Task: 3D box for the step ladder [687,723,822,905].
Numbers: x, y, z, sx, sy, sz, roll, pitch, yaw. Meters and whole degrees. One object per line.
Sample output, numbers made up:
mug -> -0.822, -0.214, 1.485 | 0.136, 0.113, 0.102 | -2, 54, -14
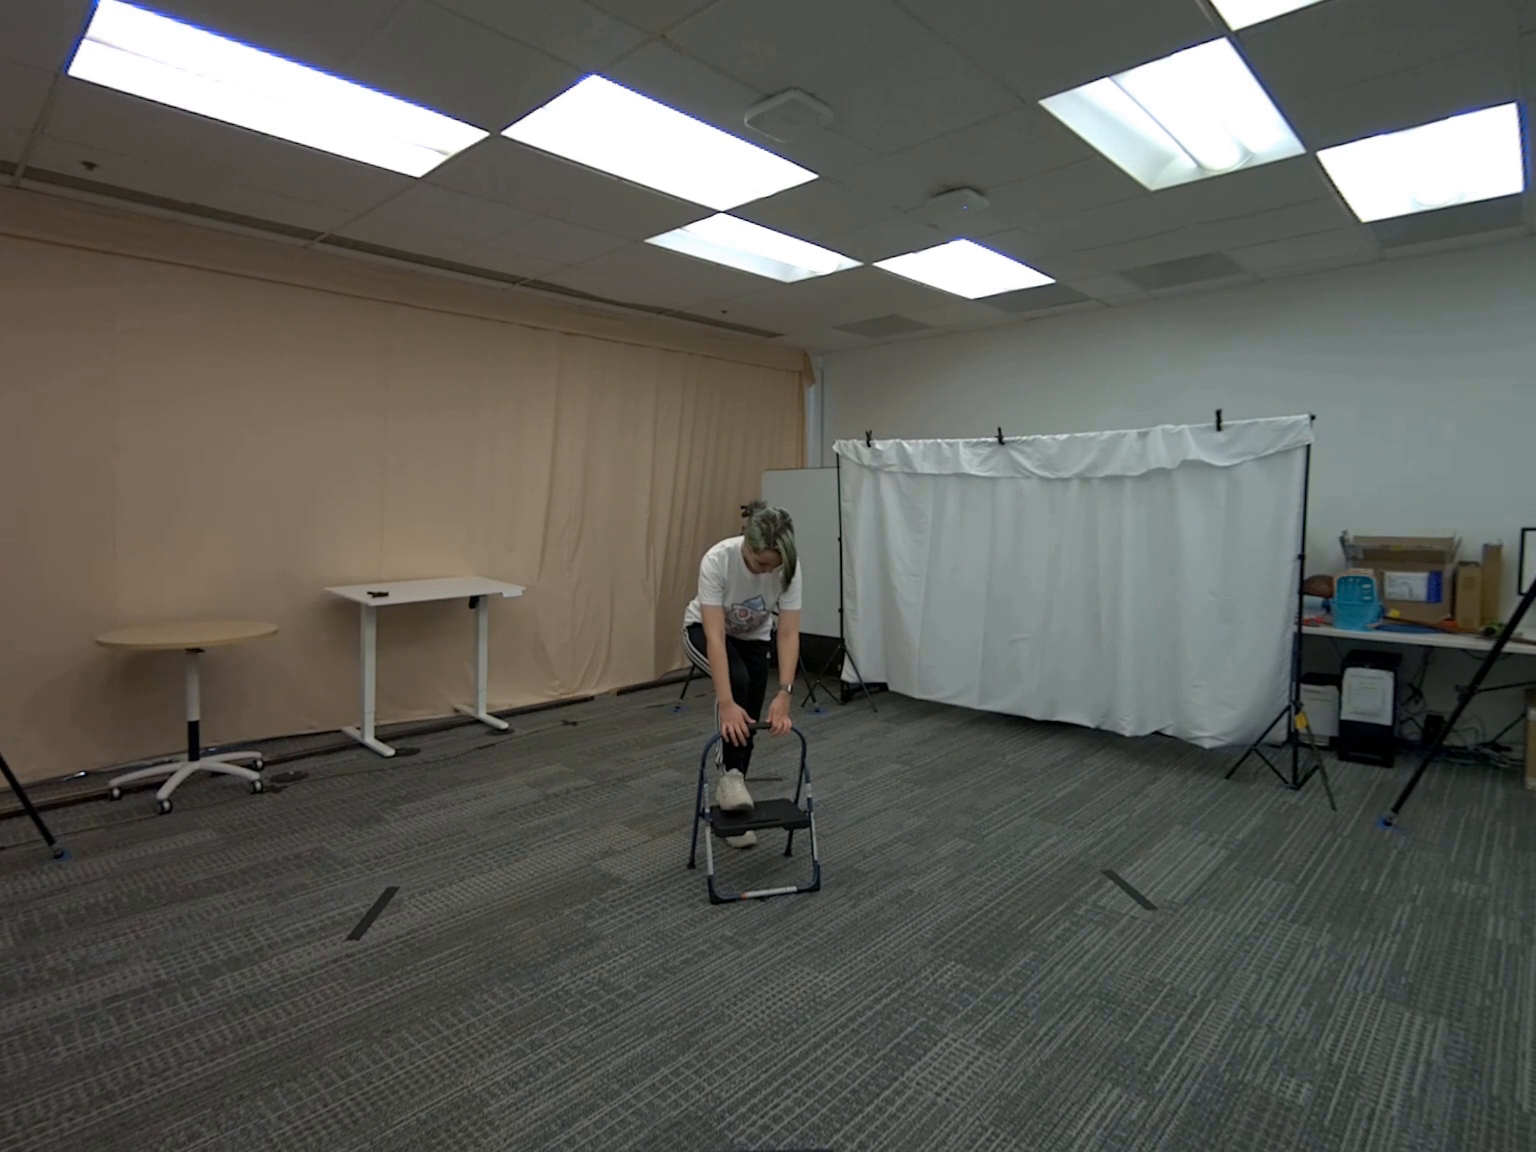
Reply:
step ladder -> -0.056, 0.830, 3.137 | 0.423, 0.605, 0.356 | -2, 3, -17
